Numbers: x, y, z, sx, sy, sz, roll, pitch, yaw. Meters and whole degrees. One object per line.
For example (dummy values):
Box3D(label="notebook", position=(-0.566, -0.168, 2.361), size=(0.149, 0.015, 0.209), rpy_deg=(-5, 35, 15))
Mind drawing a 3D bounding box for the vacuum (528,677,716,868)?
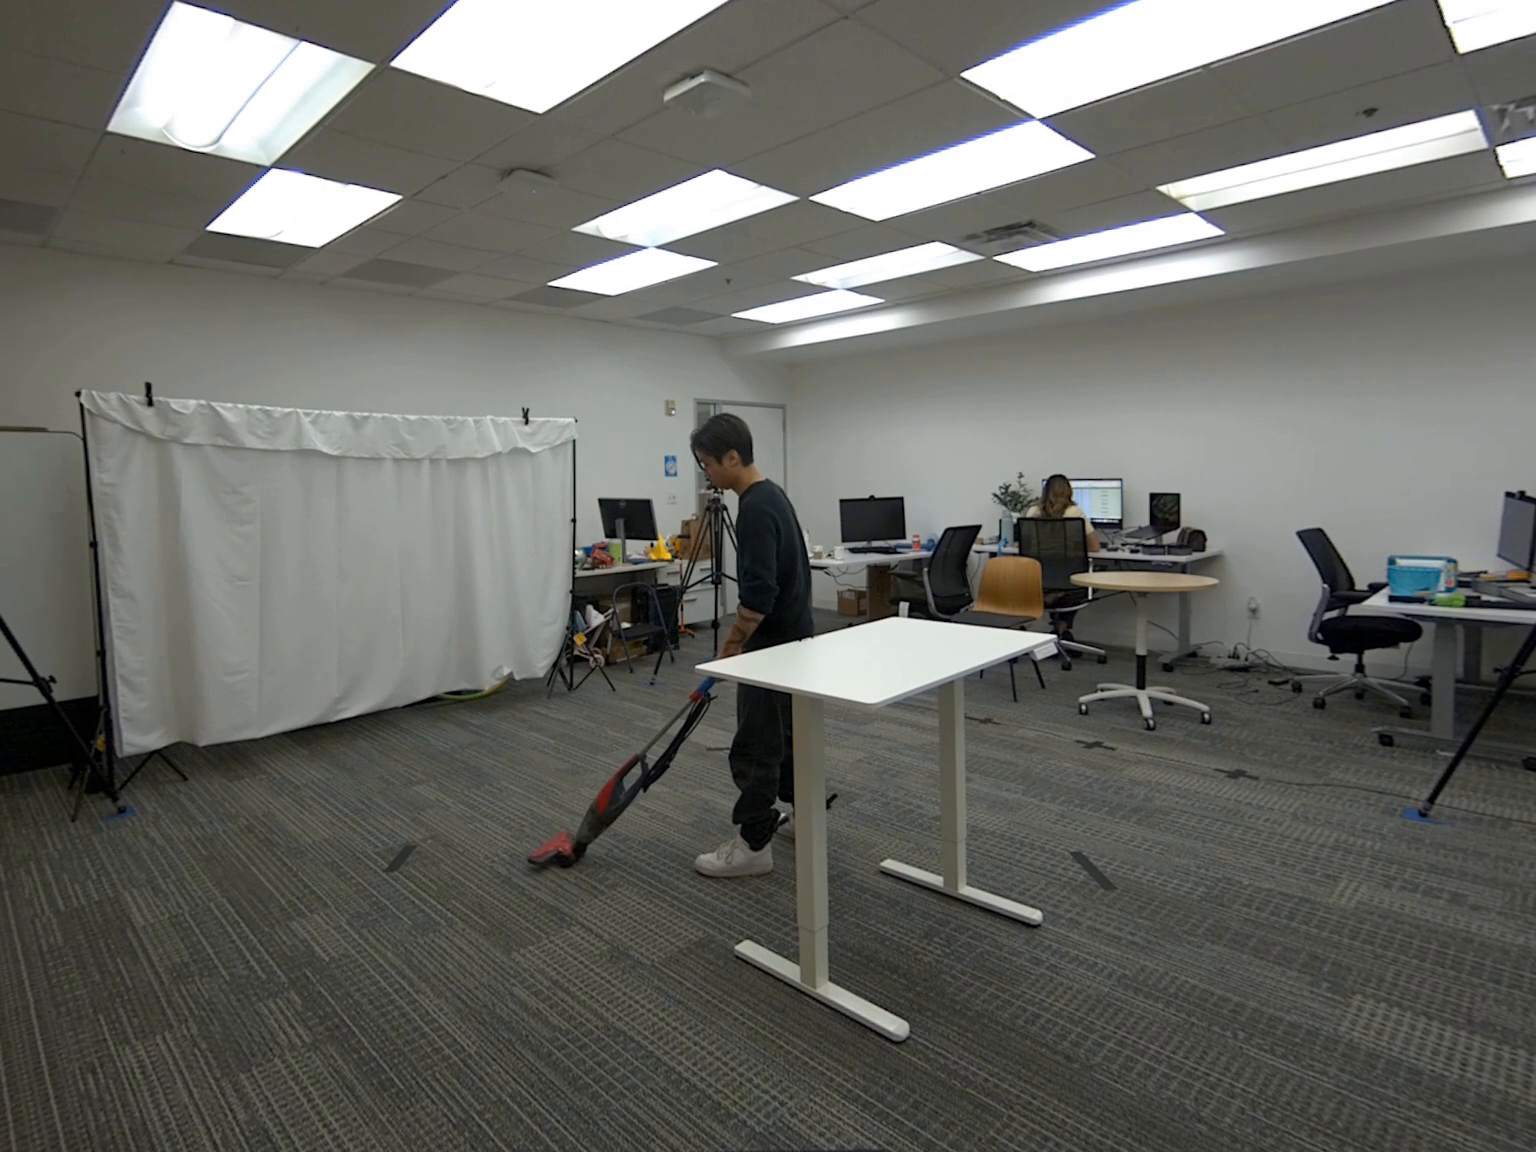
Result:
Box3D(label="vacuum", position=(-0.434, 0.668, 3.016), size=(1.049, 0.145, 0.250), rpy_deg=(-46, -6, 17))
